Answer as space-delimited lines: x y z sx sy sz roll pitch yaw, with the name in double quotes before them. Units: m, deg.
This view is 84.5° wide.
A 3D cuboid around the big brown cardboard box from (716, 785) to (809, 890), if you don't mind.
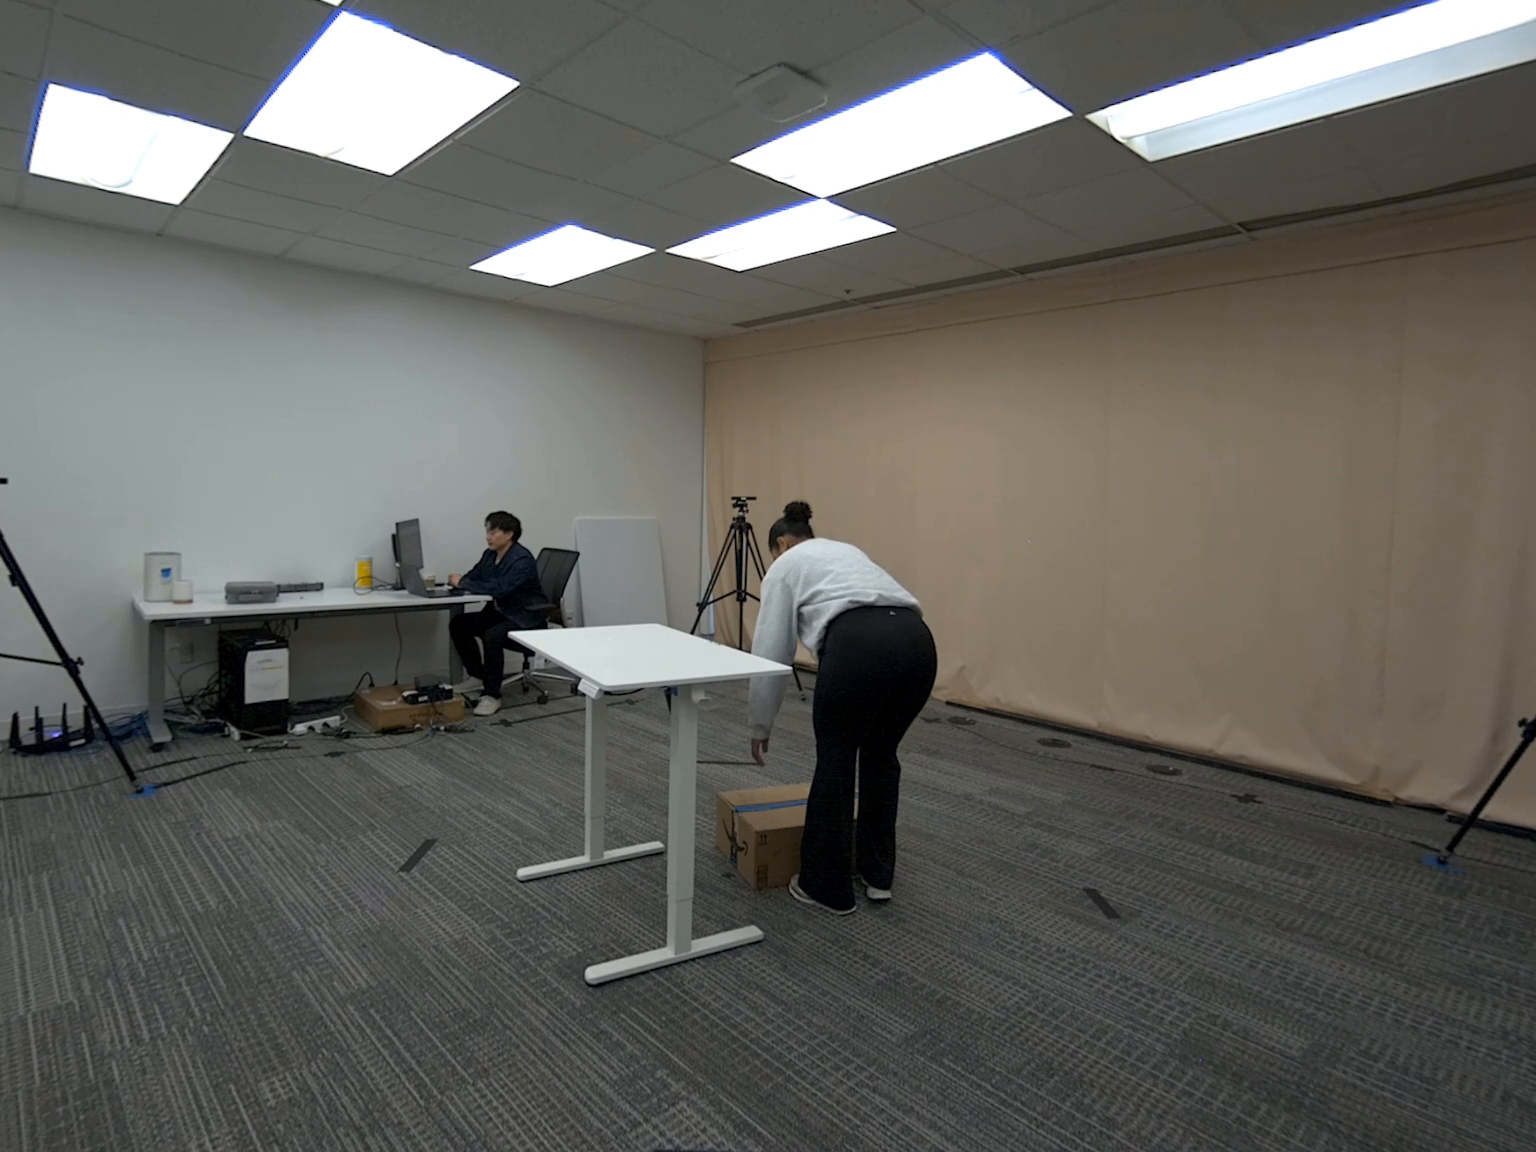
"big brown cardboard box" 0.128 0.986 3.276 0.579 0.232 0.425 -1 5 -22
